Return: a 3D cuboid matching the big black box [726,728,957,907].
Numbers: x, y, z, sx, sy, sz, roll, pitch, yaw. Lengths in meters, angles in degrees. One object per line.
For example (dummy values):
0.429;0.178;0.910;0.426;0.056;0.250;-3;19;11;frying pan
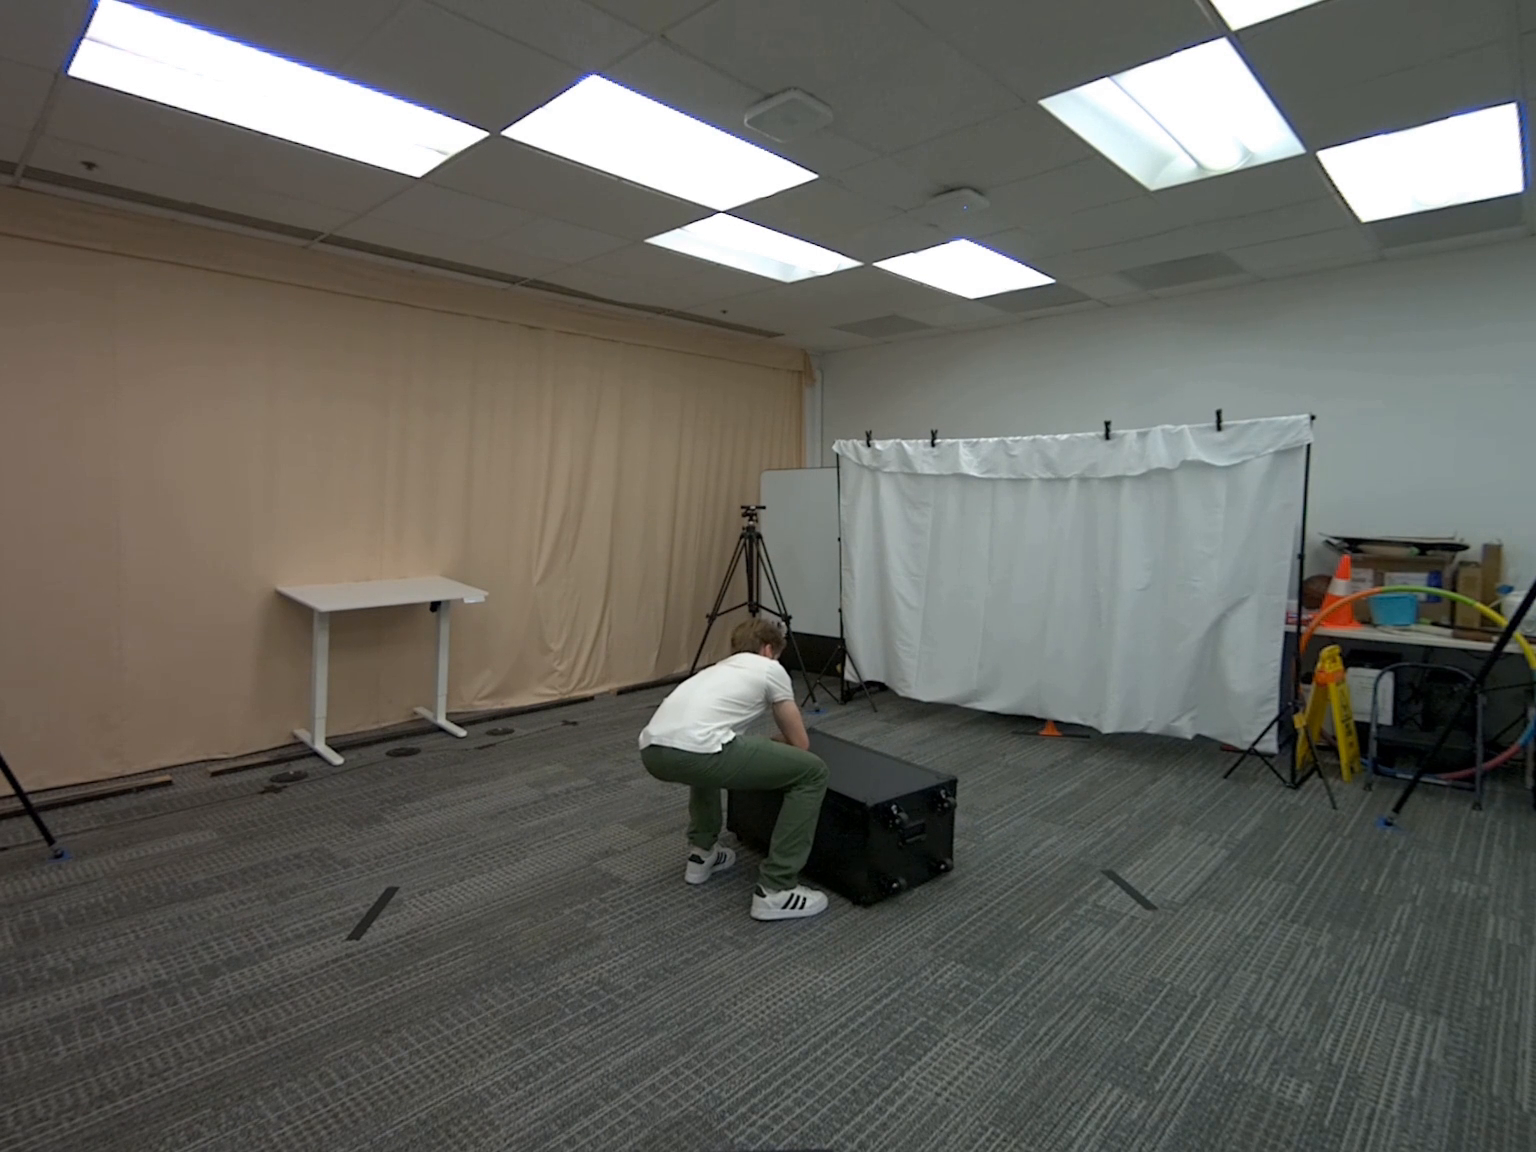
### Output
0.294;0.914;3.296;0.507;0.384;0.897;-2;6;-38;big black box
